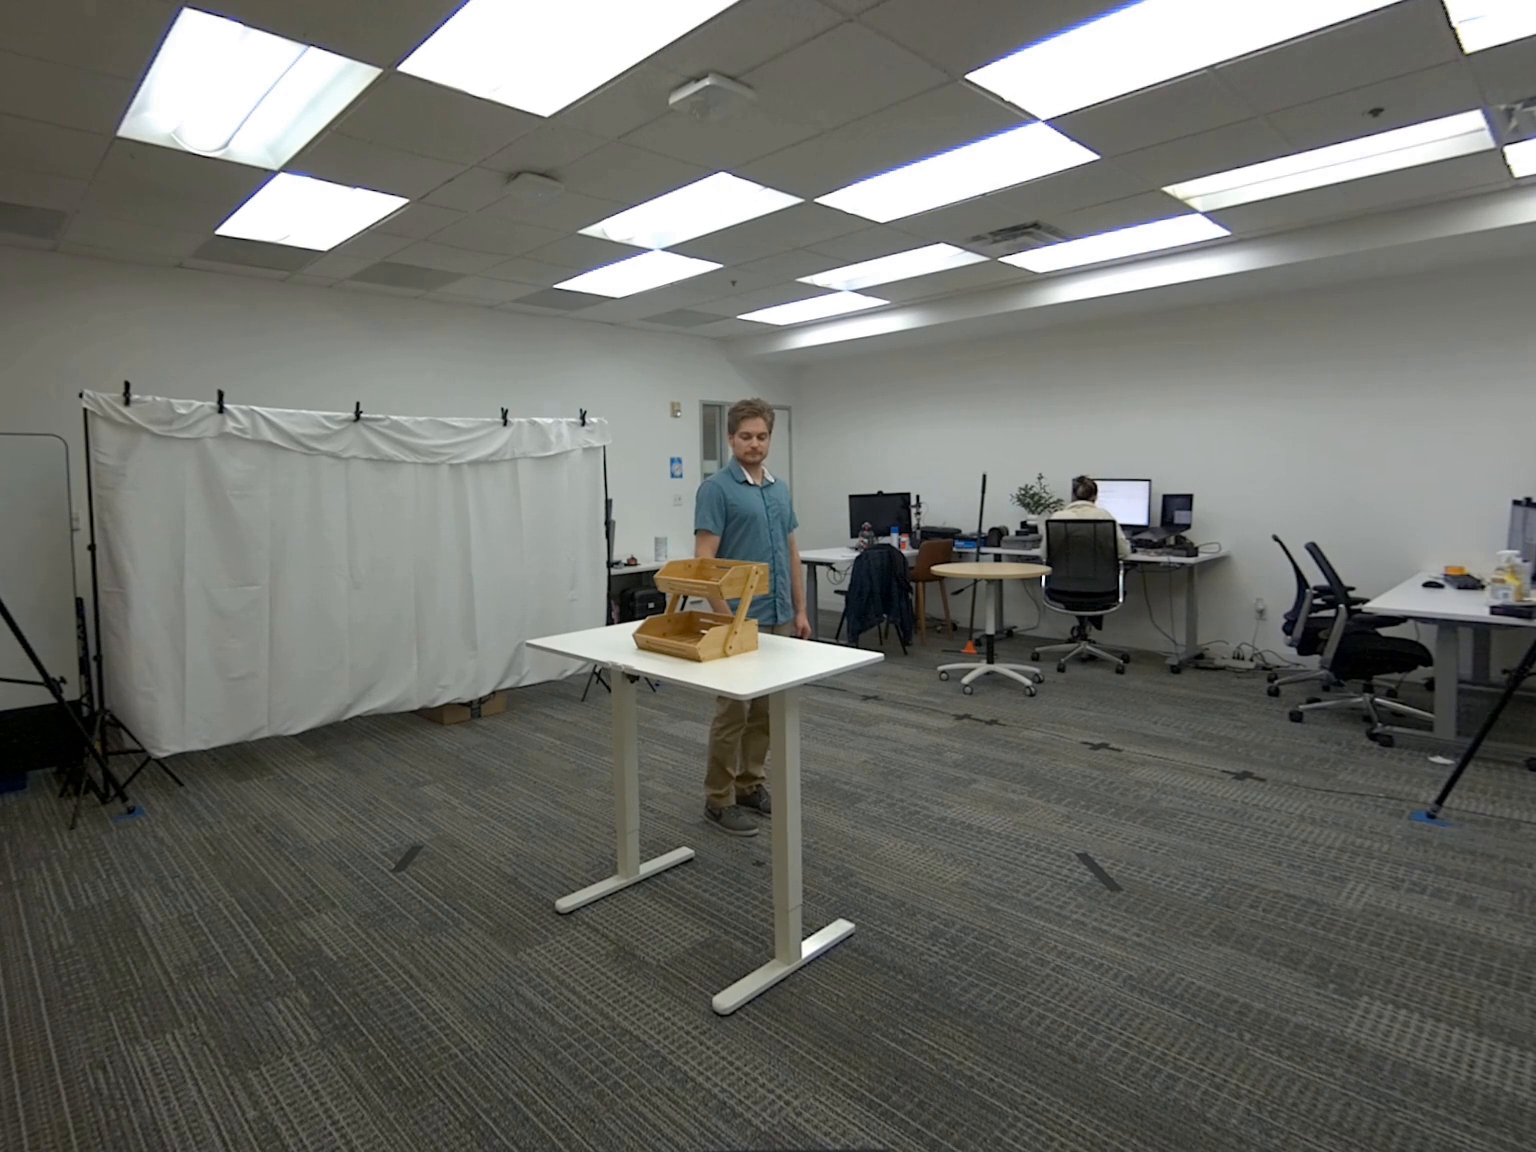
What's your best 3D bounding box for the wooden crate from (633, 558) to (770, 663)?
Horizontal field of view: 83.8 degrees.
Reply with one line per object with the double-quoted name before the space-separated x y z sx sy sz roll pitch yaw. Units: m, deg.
"wooden crate" -0.213 0.093 2.625 0.294 0.272 0.334 -6 7 -45
